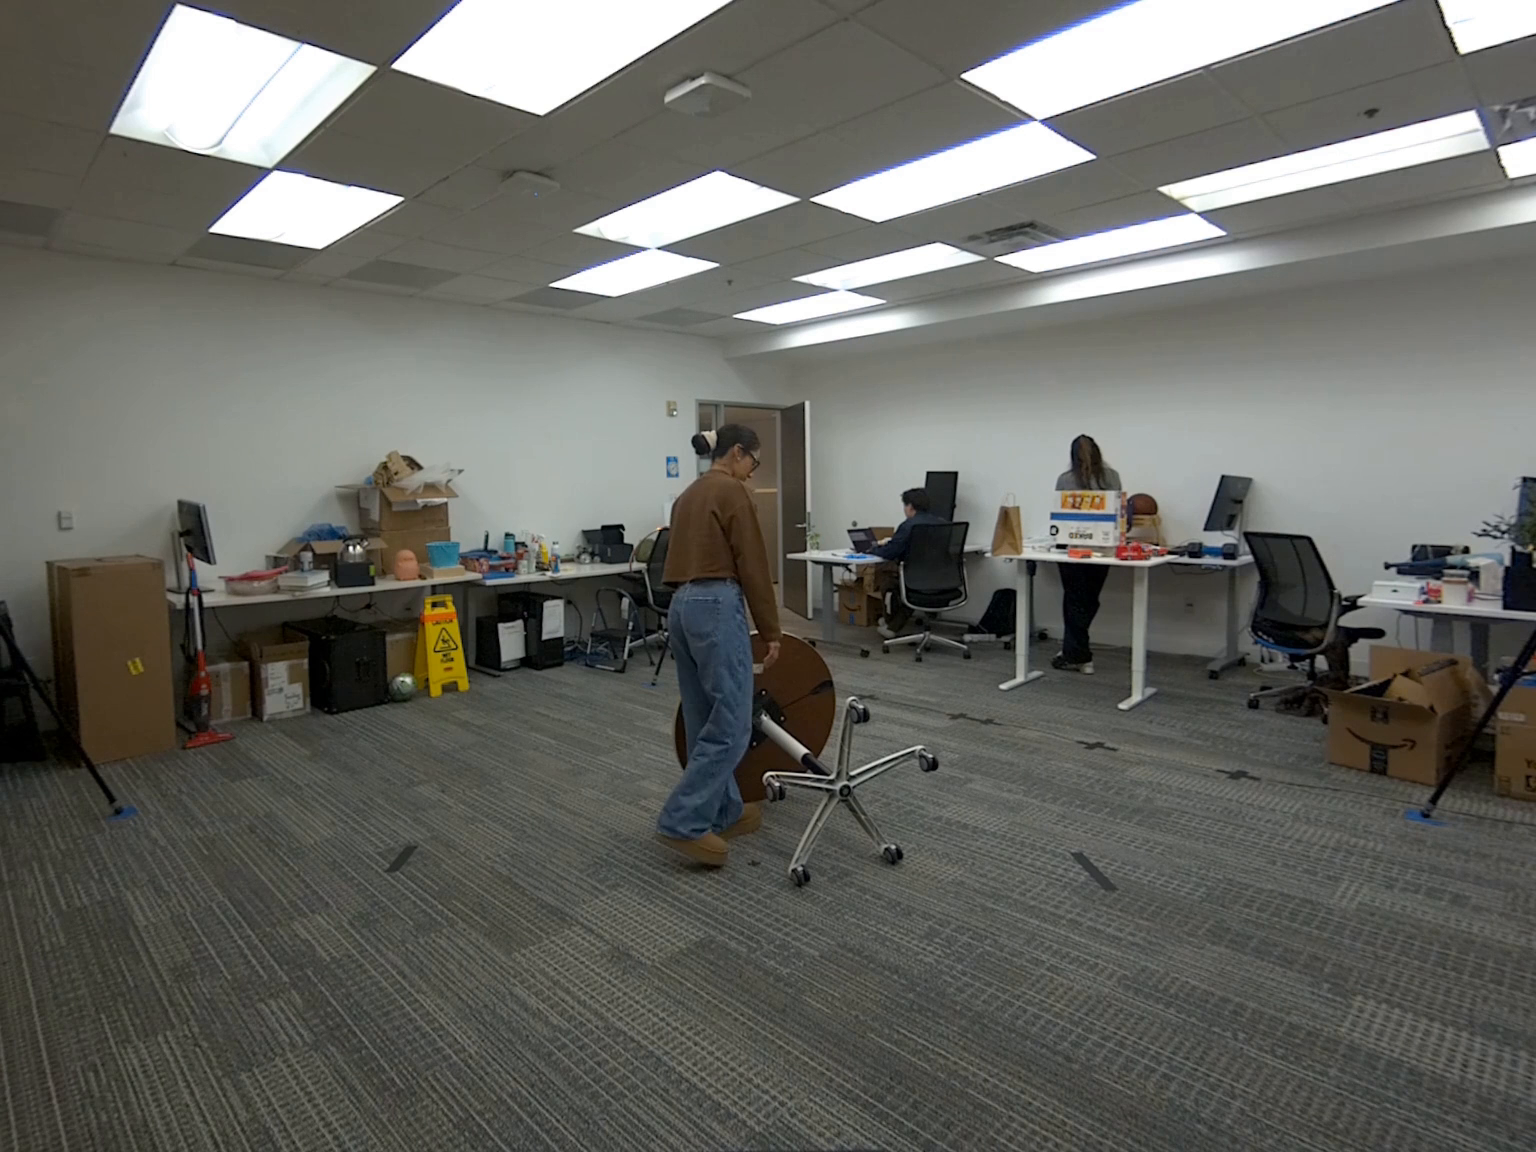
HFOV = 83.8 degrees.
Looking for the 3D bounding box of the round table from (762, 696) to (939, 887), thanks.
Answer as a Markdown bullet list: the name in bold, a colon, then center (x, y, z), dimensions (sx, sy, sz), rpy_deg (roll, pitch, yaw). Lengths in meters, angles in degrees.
- **round table**: center (0.135, 0.686, 3.300), dimensions (0.748, 0.757, 0.819), rpy_deg (-3, 13, -26)
